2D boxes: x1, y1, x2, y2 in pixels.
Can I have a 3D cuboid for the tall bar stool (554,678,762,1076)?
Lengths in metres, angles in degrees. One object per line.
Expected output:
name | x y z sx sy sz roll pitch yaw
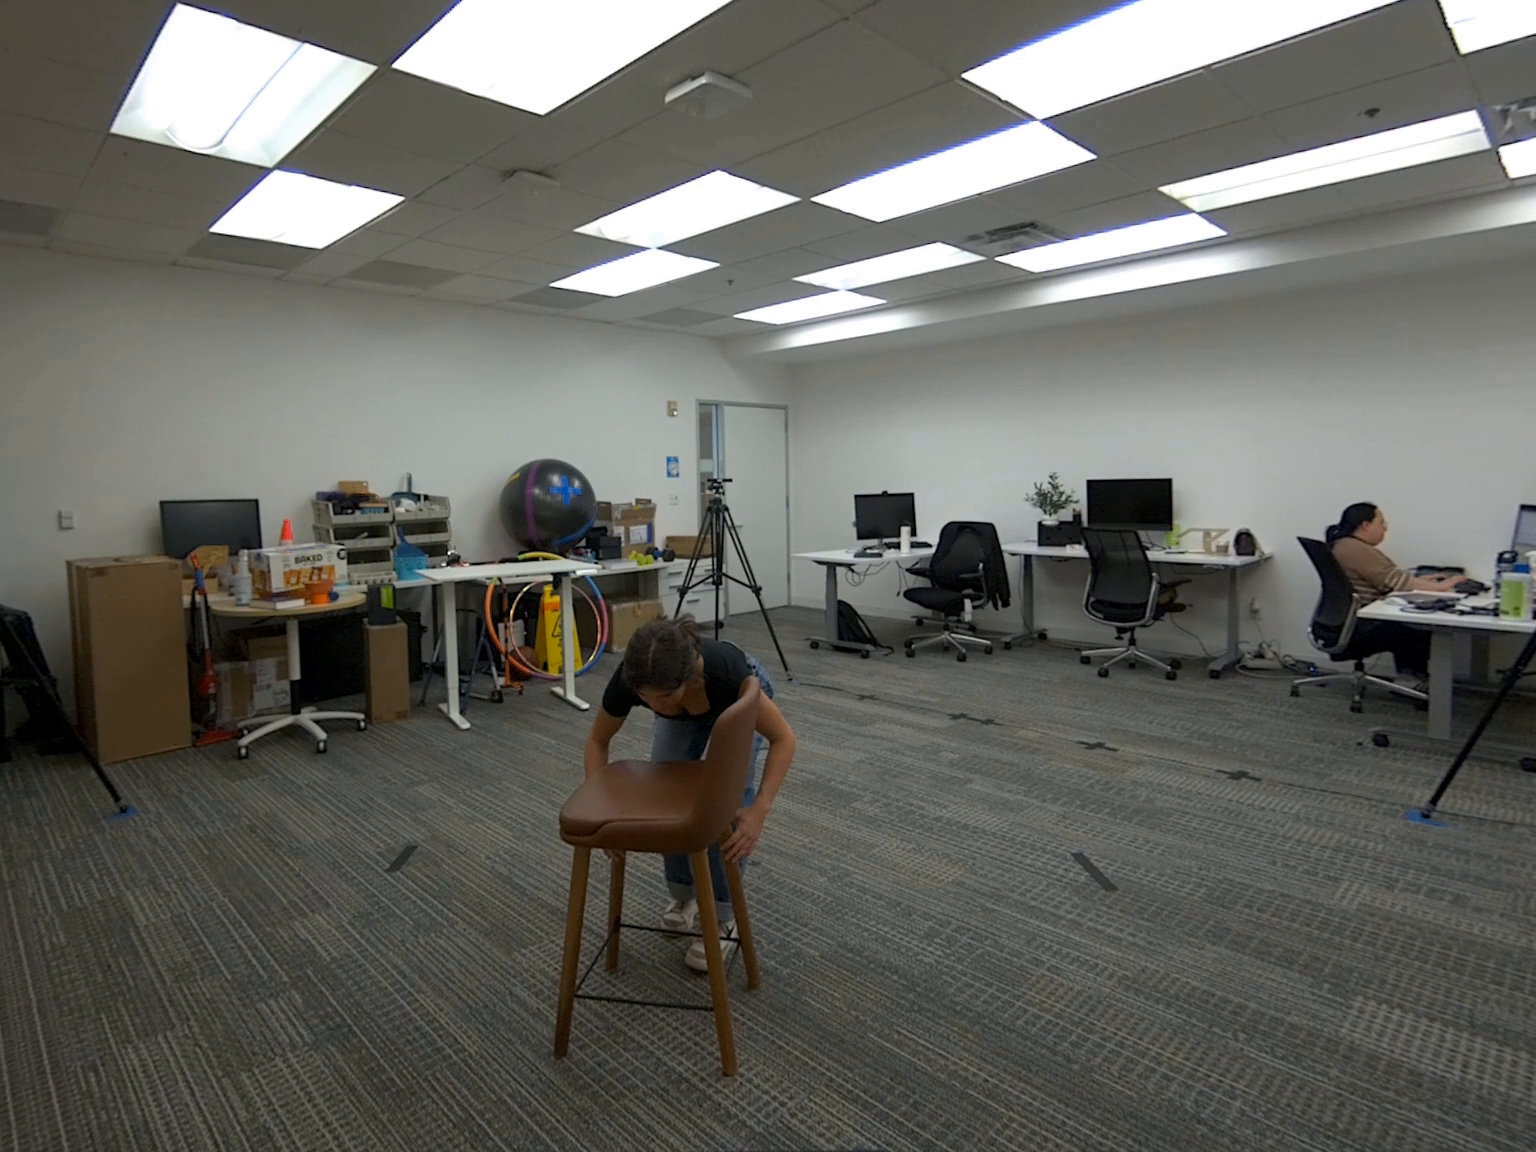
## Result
tall bar stool | -0.276 0.724 2.200 0.473 0.886 0.453 1 5 11
